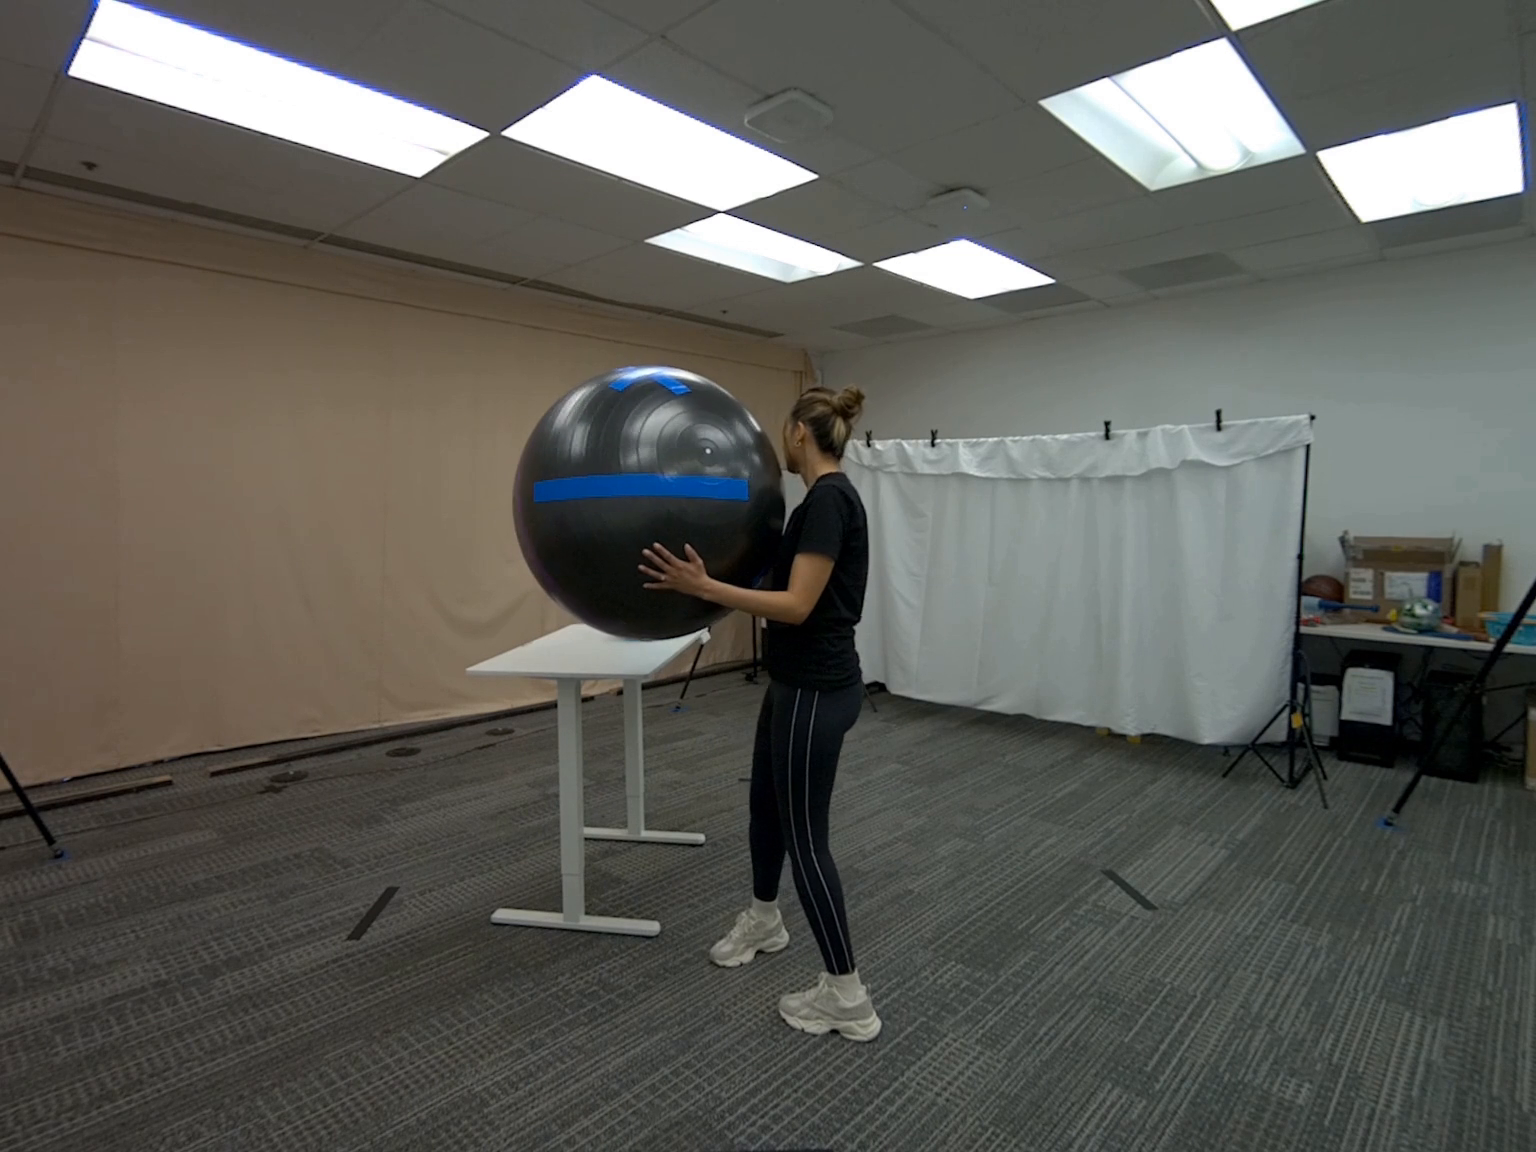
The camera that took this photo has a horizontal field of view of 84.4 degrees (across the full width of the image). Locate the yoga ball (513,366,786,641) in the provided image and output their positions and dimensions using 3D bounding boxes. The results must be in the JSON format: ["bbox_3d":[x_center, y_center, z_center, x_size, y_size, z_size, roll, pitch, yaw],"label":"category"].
[{"bbox_3d":[-0.326,-0.196,2.351,0.757,0.756,0.761,0,4,-2],"label":"yoga ball"}]
